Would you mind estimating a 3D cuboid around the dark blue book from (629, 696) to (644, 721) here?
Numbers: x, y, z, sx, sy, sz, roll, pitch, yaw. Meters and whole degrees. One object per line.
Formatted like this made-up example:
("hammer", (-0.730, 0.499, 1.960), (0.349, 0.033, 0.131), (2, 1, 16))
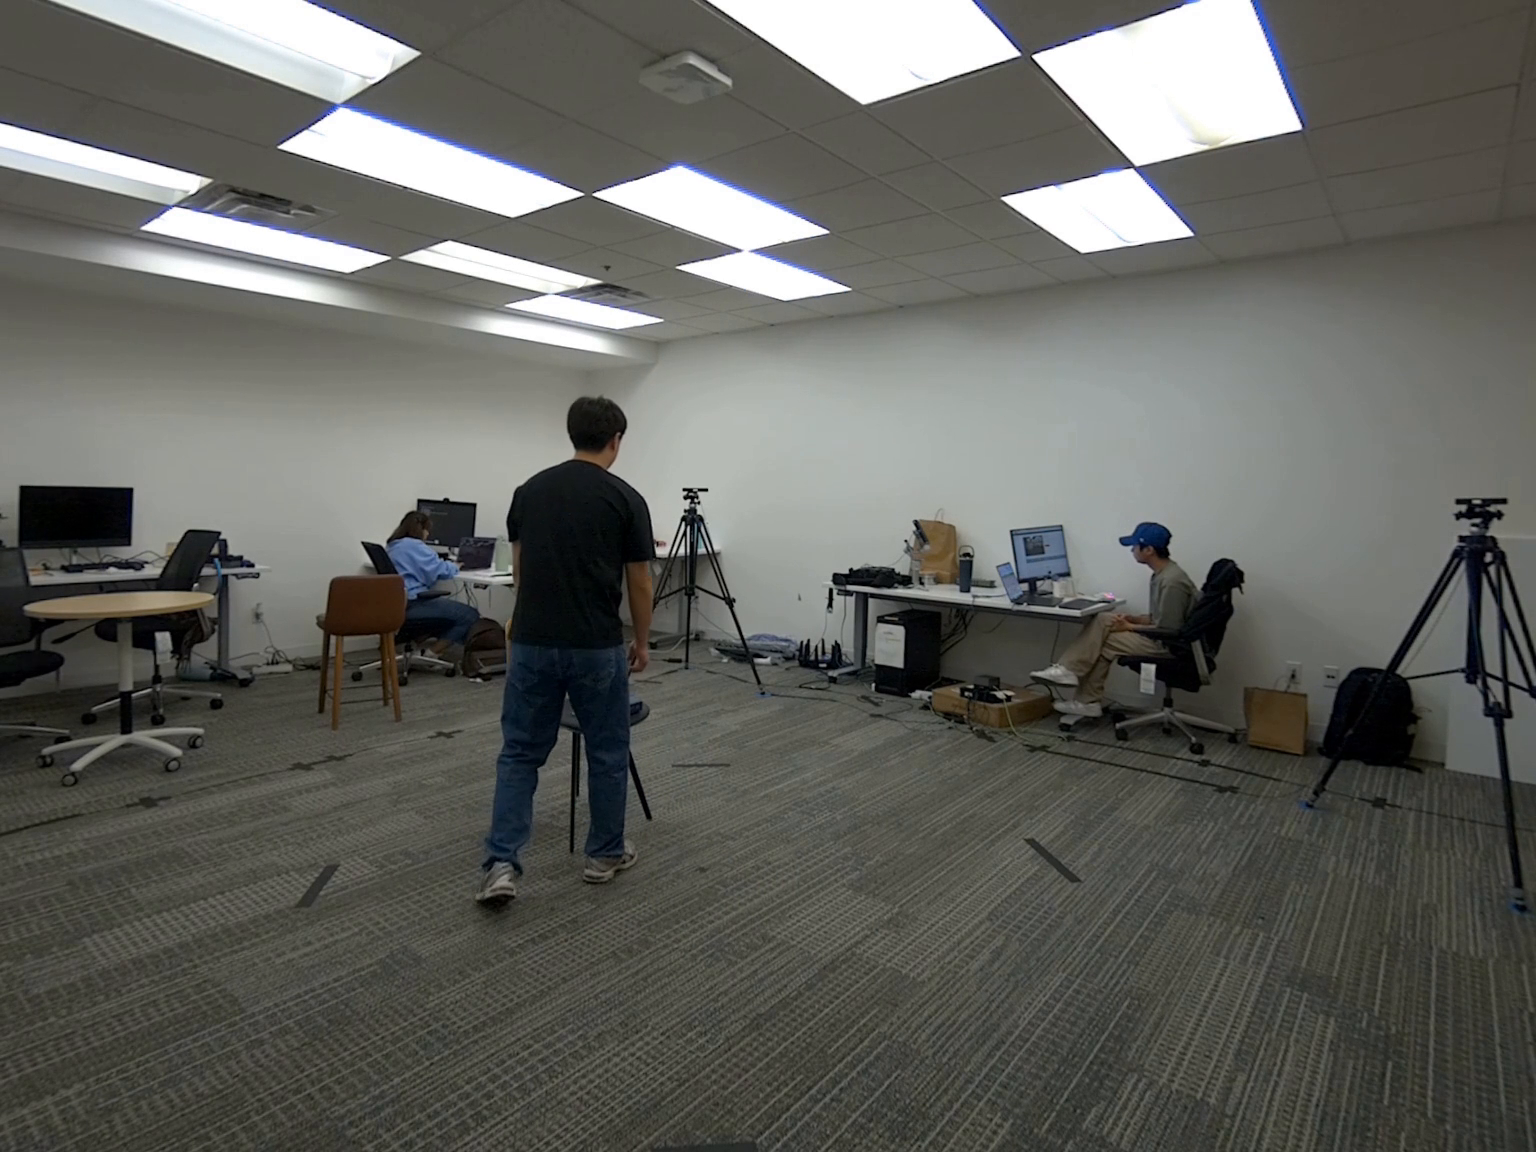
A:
("dark blue book", (-0.659, 0.522, 3.415), (0.169, 0.045, 0.238), (7, 9, 35))
